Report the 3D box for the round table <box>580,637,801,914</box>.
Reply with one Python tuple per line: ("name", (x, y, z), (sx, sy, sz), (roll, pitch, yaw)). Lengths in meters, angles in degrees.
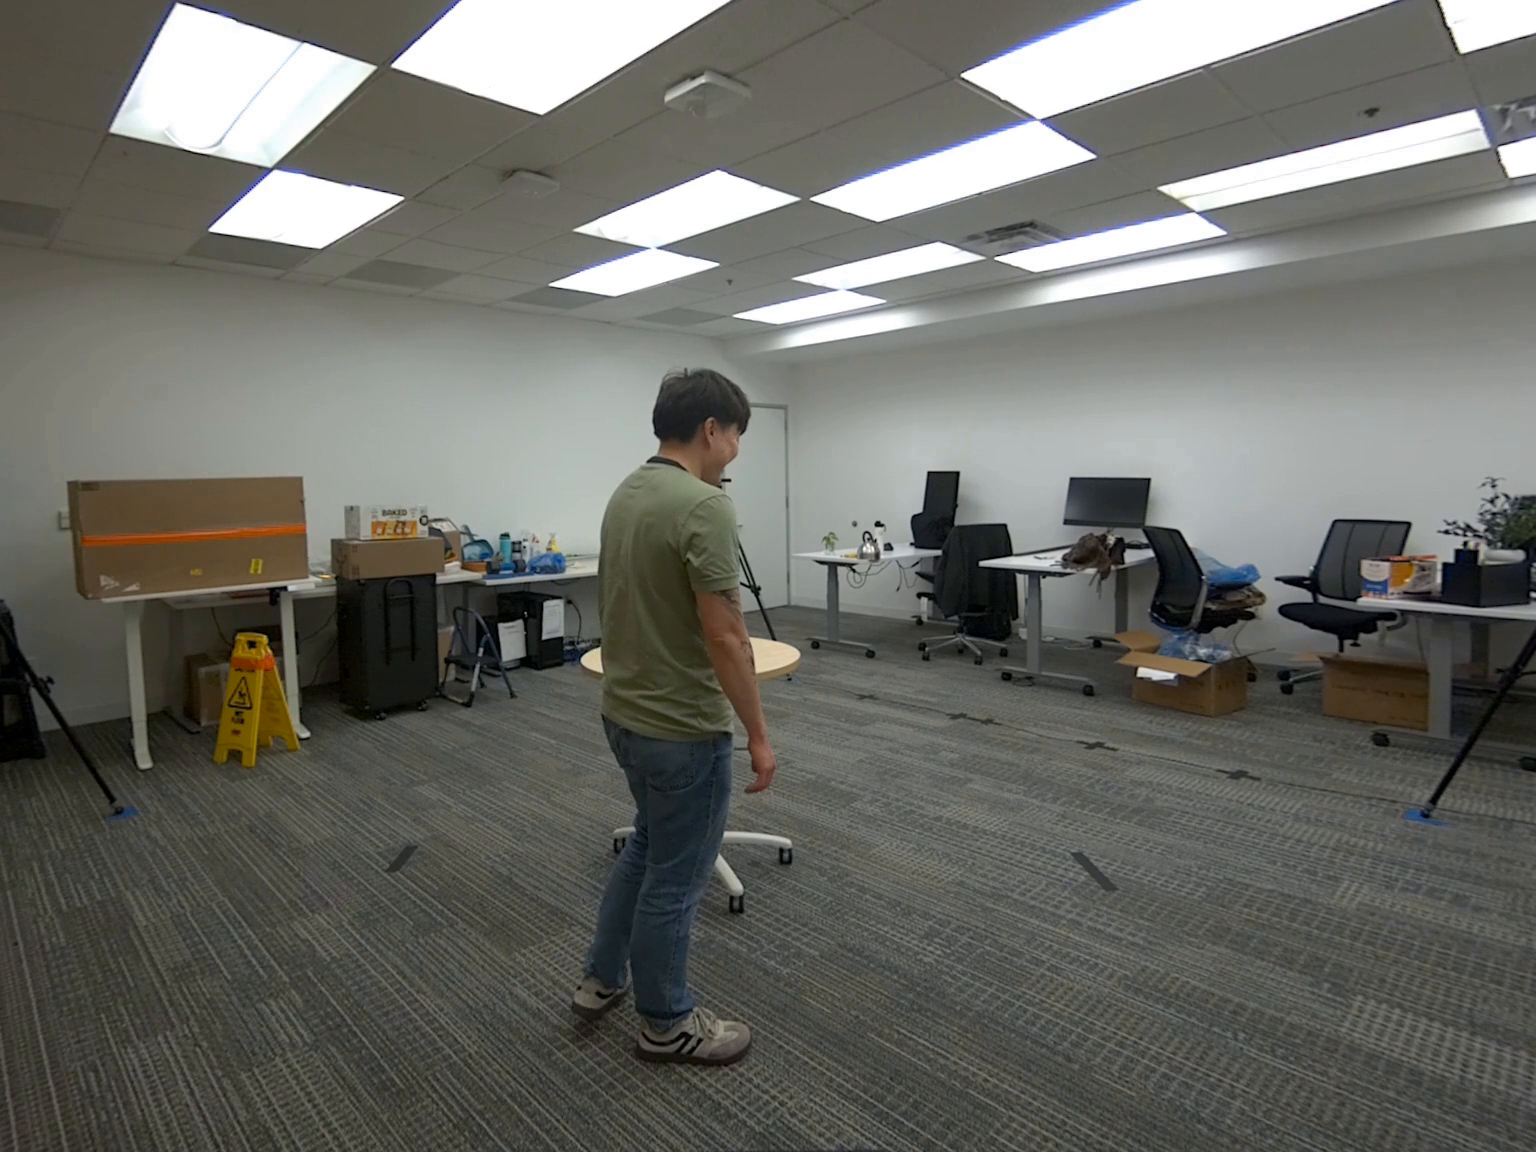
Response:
("round table", (-0.258, 0.670, 3.023), (0.763, 0.791, 0.768), (-1, 5, -2))
